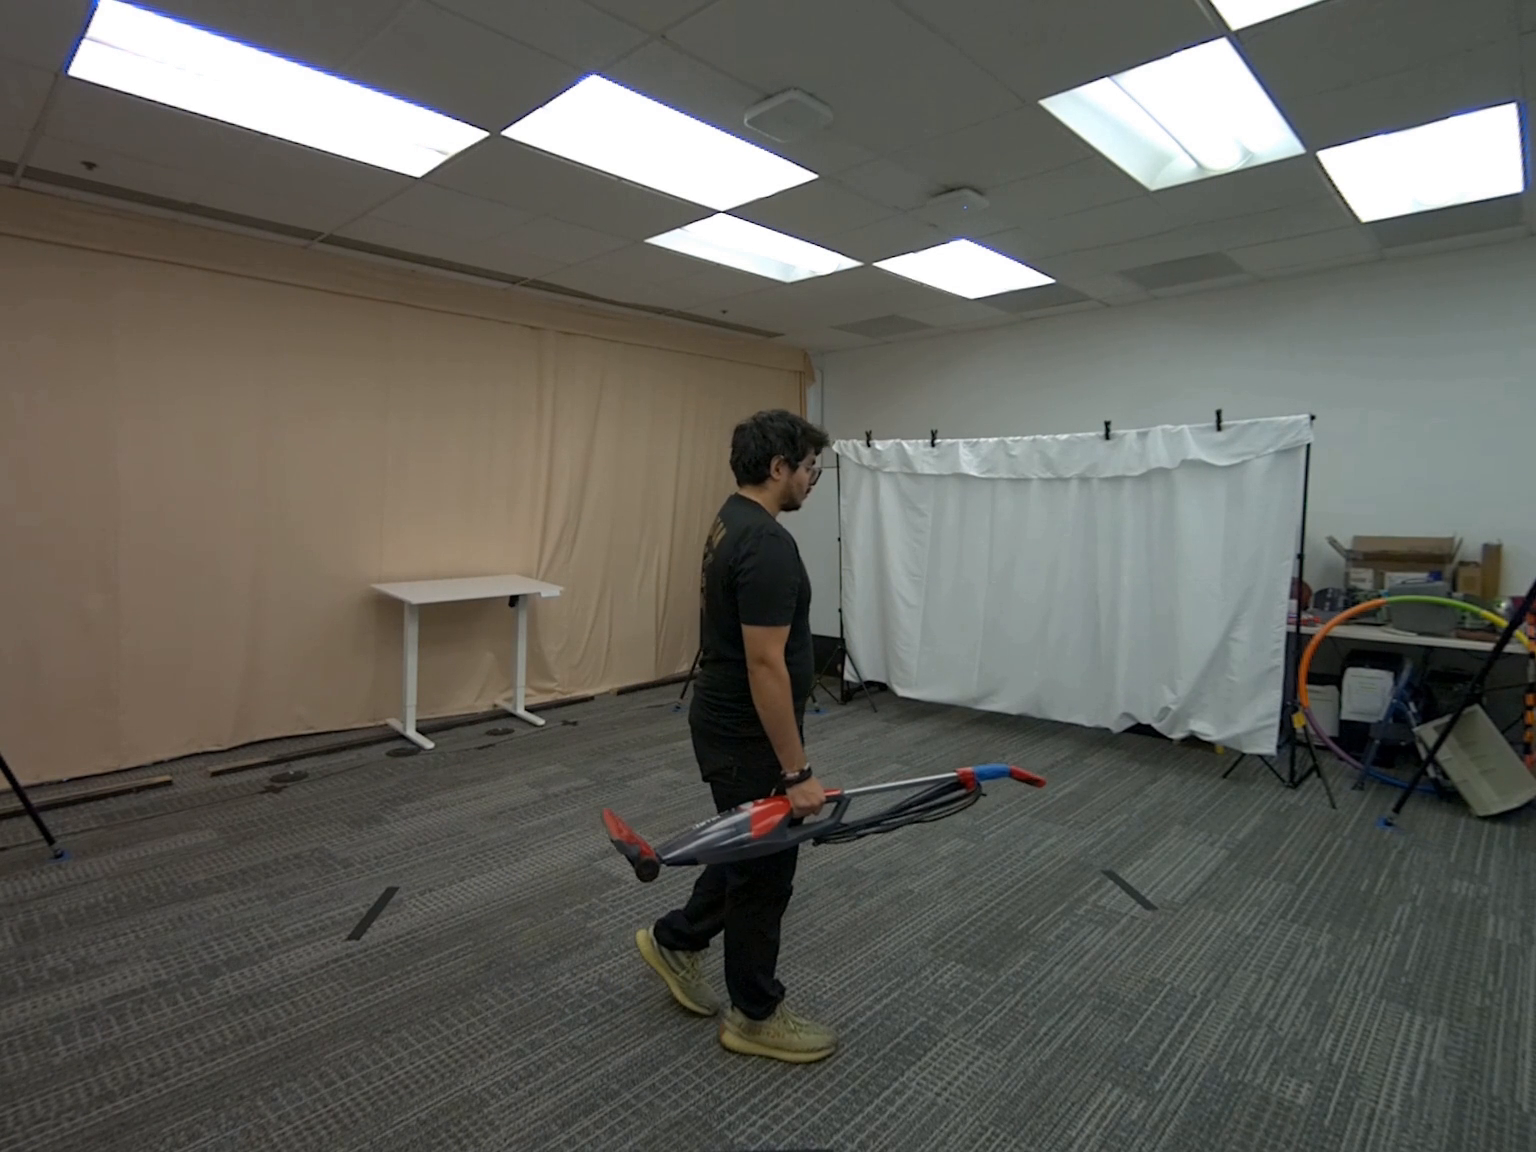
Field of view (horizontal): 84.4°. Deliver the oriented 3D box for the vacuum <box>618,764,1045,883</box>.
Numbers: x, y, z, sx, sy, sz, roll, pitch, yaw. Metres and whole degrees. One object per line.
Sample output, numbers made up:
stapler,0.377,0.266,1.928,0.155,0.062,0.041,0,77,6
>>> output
vacuum,0.211,0.563,1.993,1.035,0.144,0.256,-5,2,-14
